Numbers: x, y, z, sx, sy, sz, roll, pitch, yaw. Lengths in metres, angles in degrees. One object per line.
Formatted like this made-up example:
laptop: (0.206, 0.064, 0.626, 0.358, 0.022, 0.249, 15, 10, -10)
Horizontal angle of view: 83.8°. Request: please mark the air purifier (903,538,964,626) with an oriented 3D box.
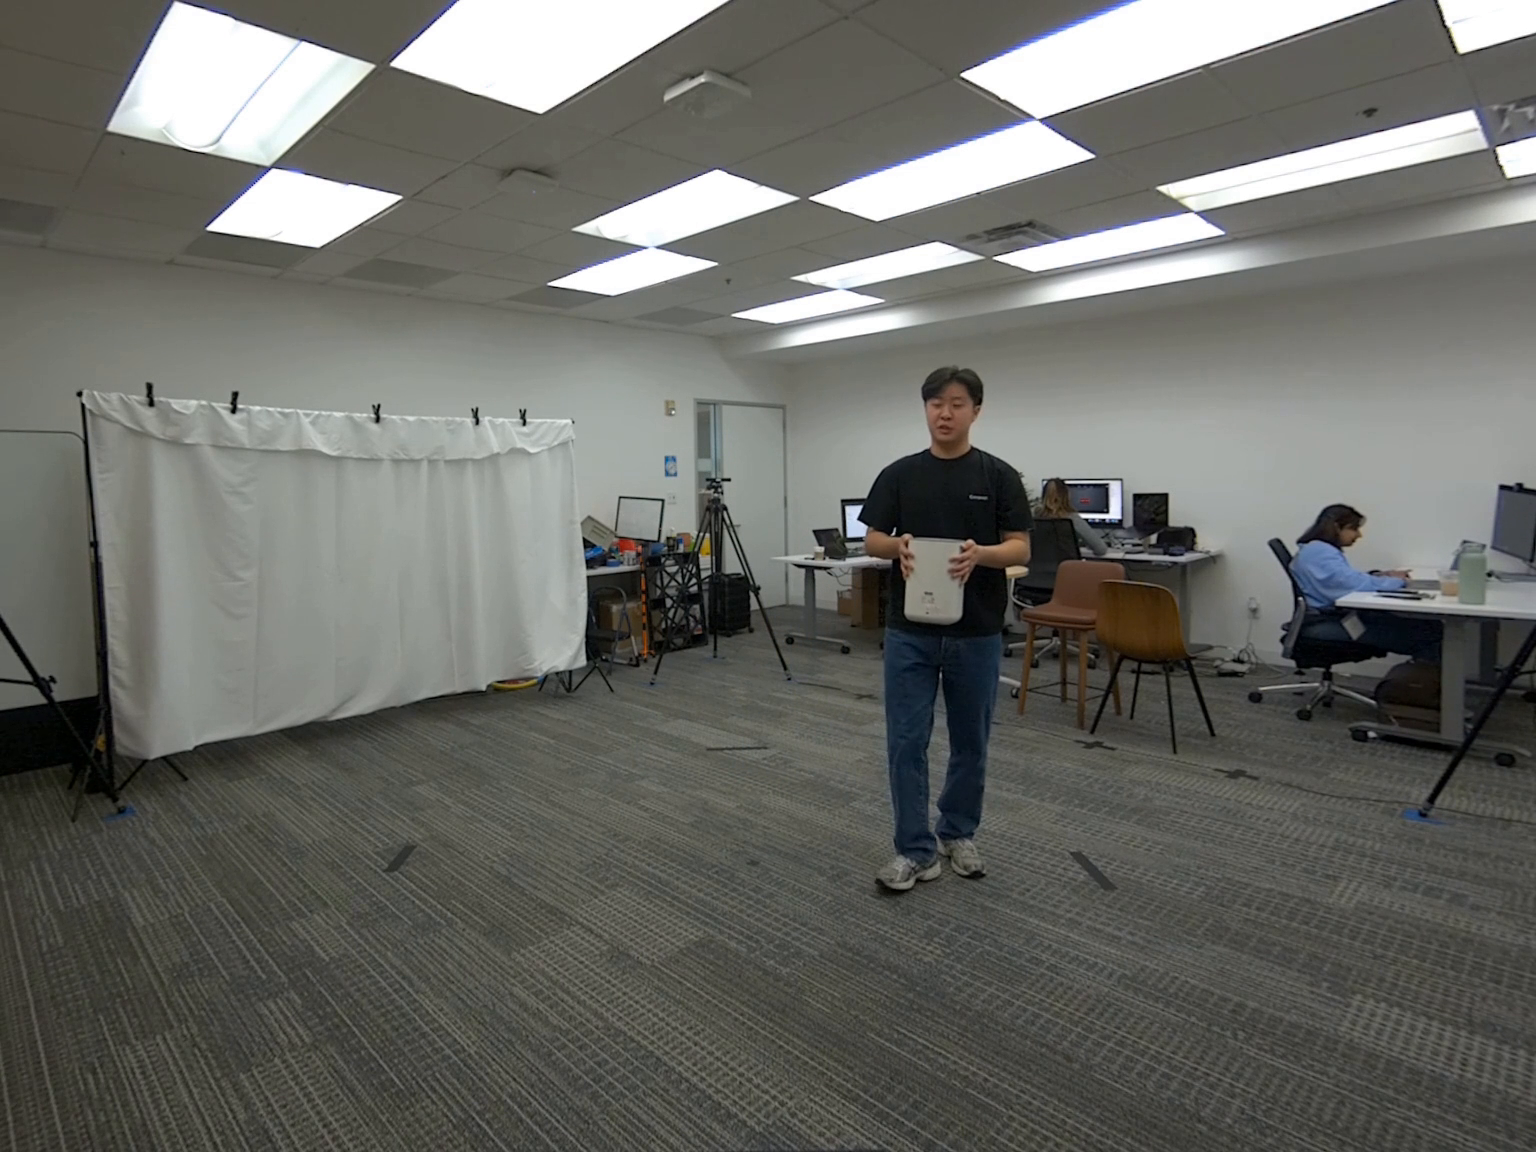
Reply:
air purifier: (0.526, 0.015, 2.754, 0.175, 0.265, 0.168, 4, 2, 24)
